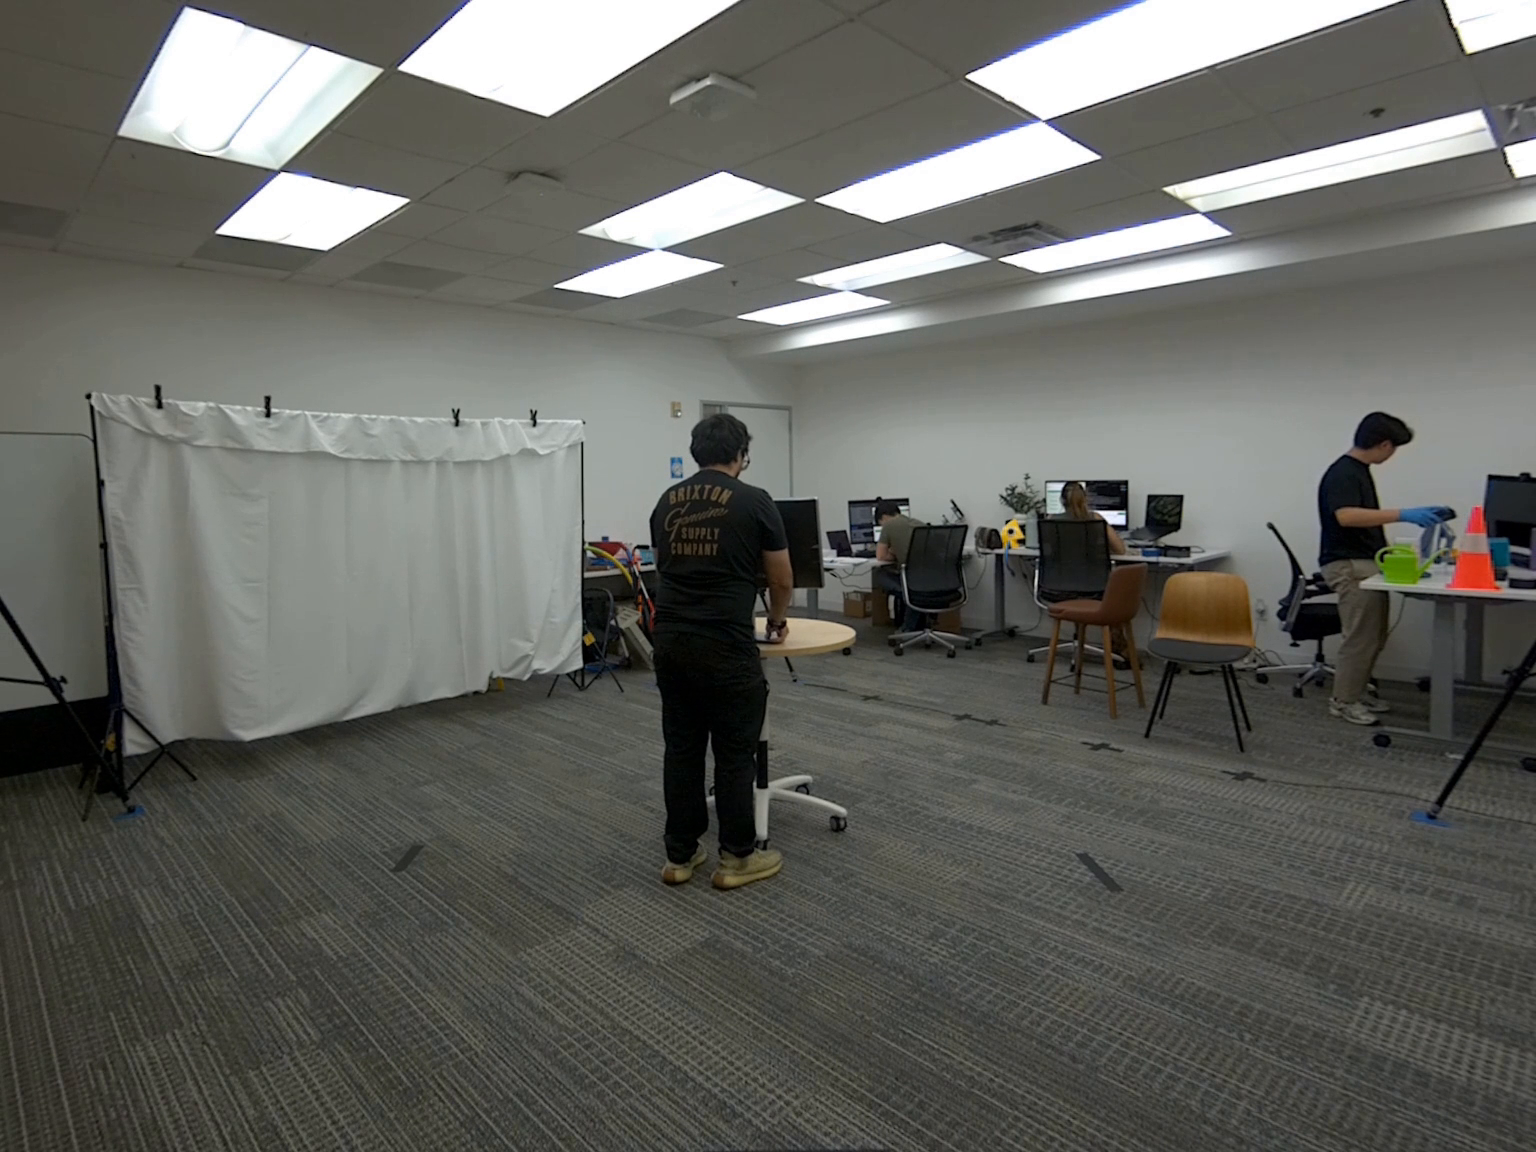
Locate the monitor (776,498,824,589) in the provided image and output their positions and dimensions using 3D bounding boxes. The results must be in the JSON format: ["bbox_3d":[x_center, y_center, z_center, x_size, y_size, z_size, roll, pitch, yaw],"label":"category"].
[{"bbox_3d":[-0.076,-0.021,3.291,0.576,0.549,0.208,1,10,20],"label":"monitor"}]
